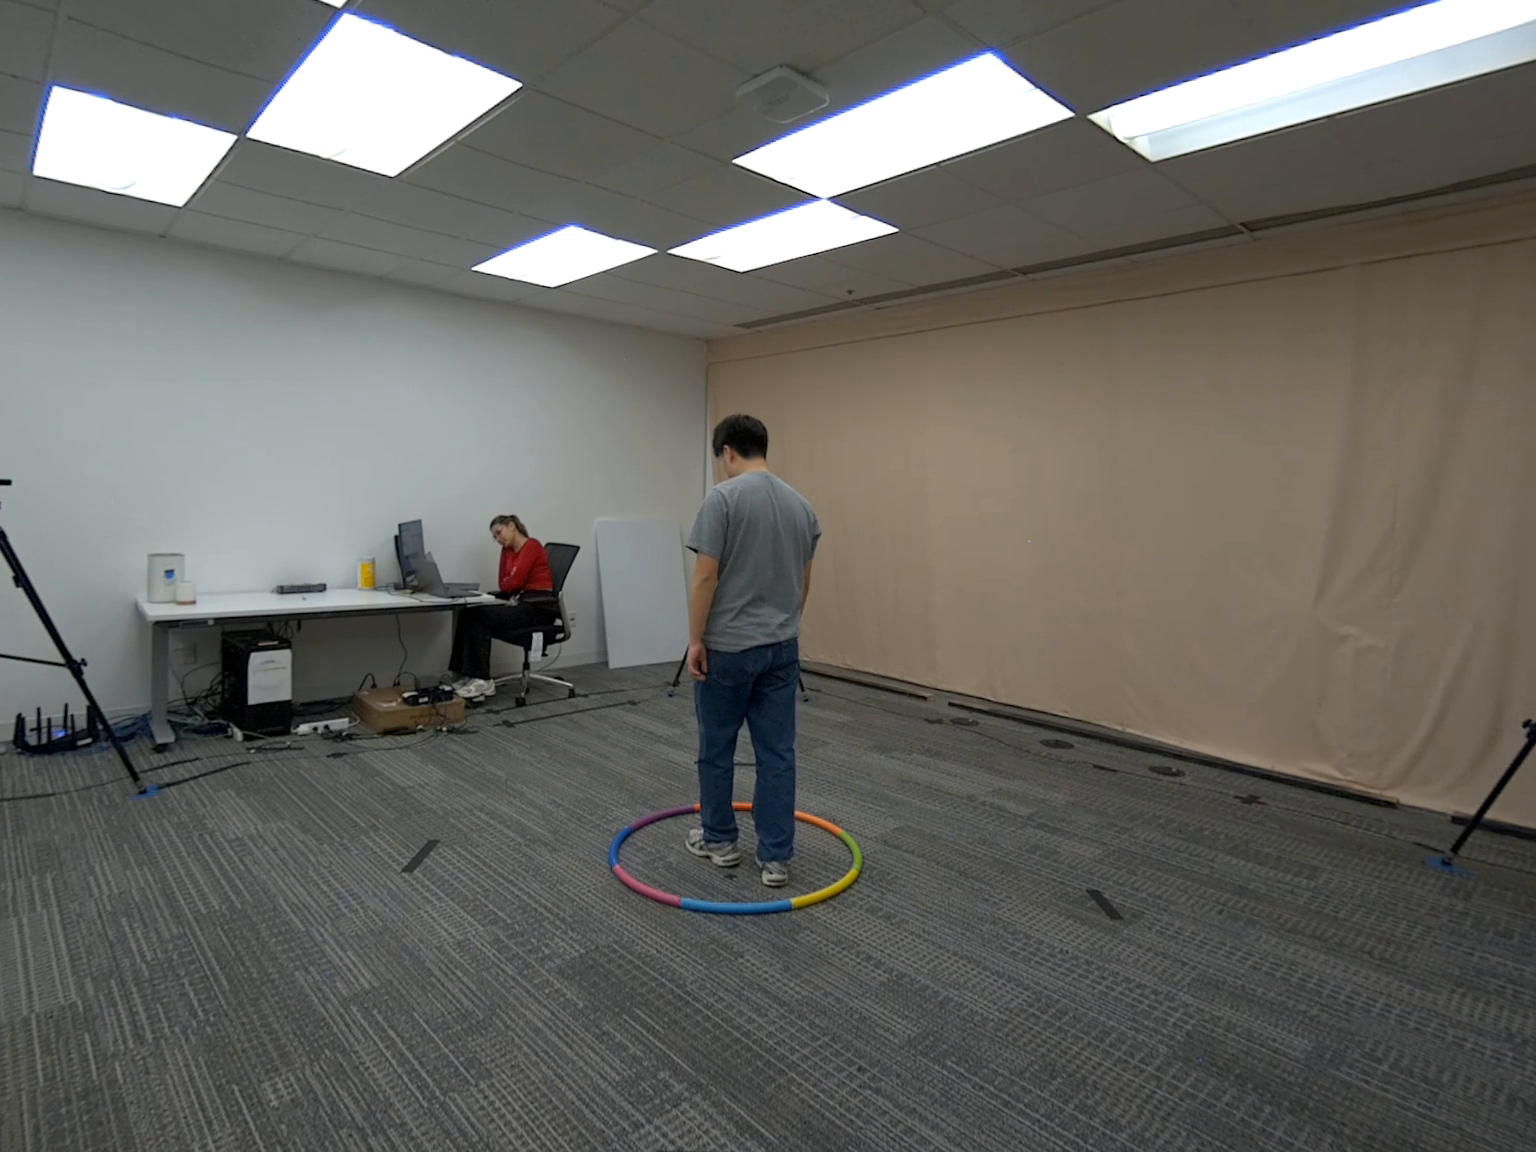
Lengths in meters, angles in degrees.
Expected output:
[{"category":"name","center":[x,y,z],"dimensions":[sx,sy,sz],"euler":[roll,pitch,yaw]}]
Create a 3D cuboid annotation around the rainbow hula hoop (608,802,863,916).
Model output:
[{"category":"rainbow hula hoop","center":[-0.140,1.059,3.300],"dimensions":[0.978,0.035,0.982],"euler":[1,5,-1]}]
